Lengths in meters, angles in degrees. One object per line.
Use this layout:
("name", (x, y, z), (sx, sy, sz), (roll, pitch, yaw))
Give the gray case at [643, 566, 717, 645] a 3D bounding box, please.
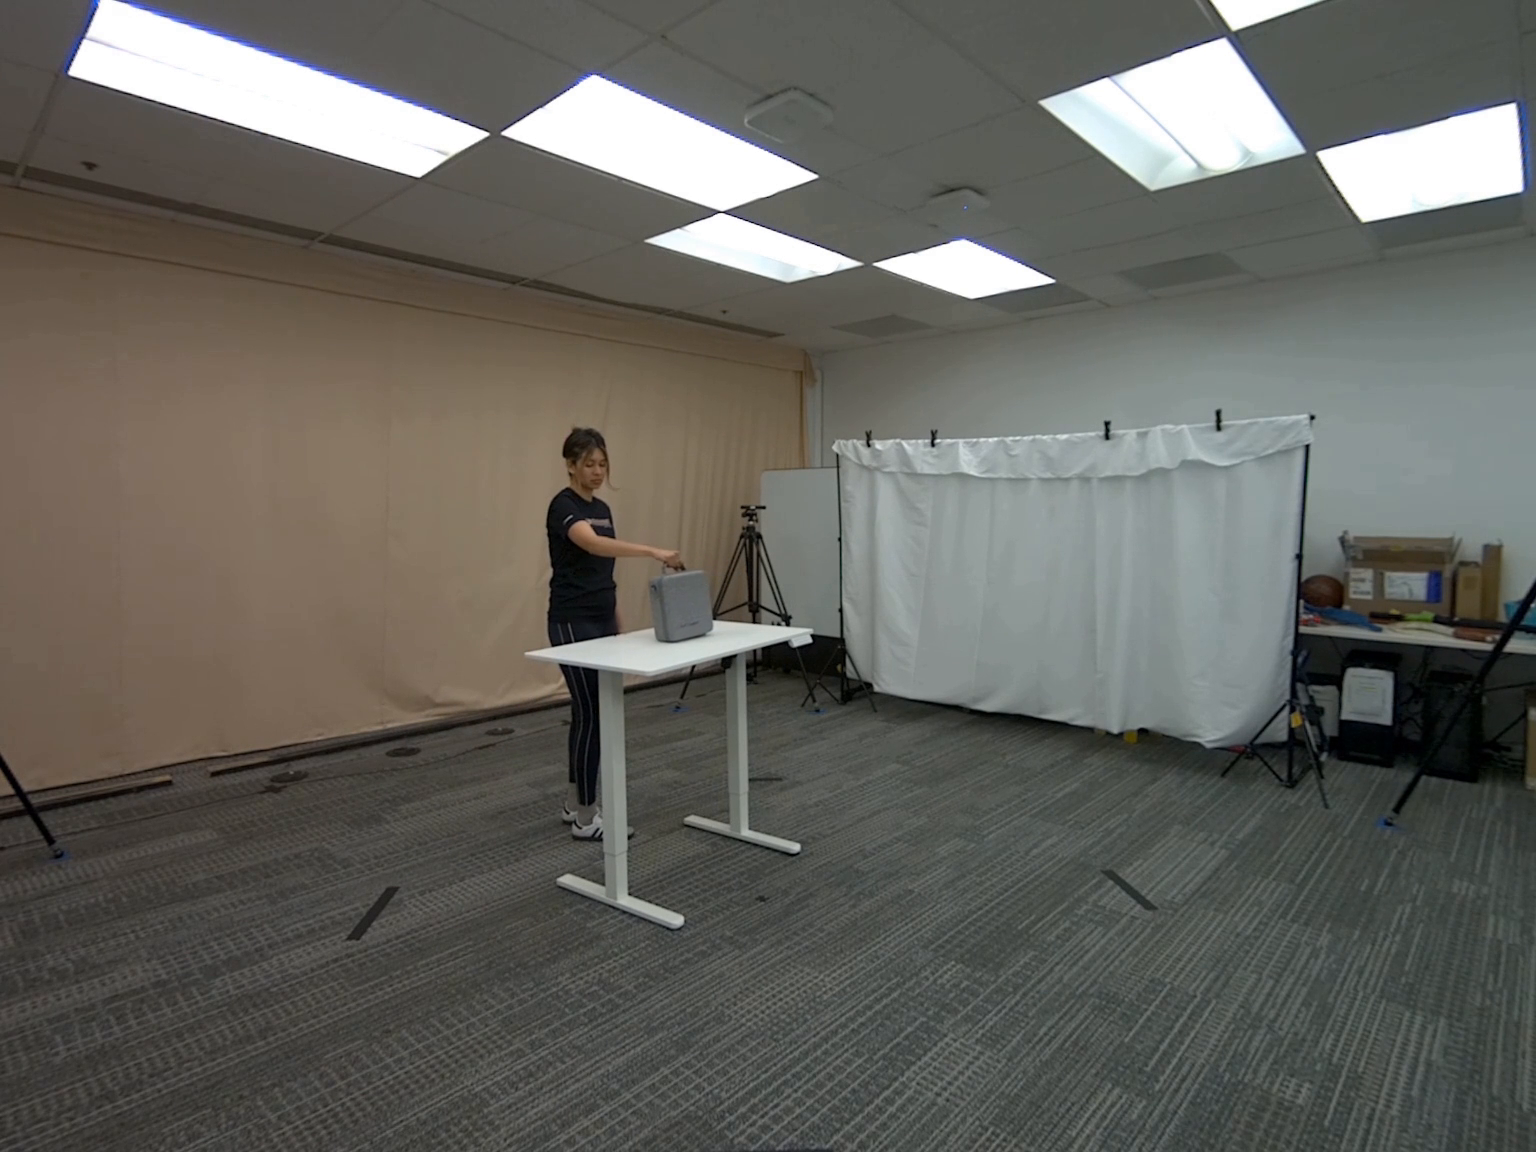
("gray case", (-0.335, 0.108, 3.232), (0.107, 0.260, 0.249), (-6, 1, 38))
